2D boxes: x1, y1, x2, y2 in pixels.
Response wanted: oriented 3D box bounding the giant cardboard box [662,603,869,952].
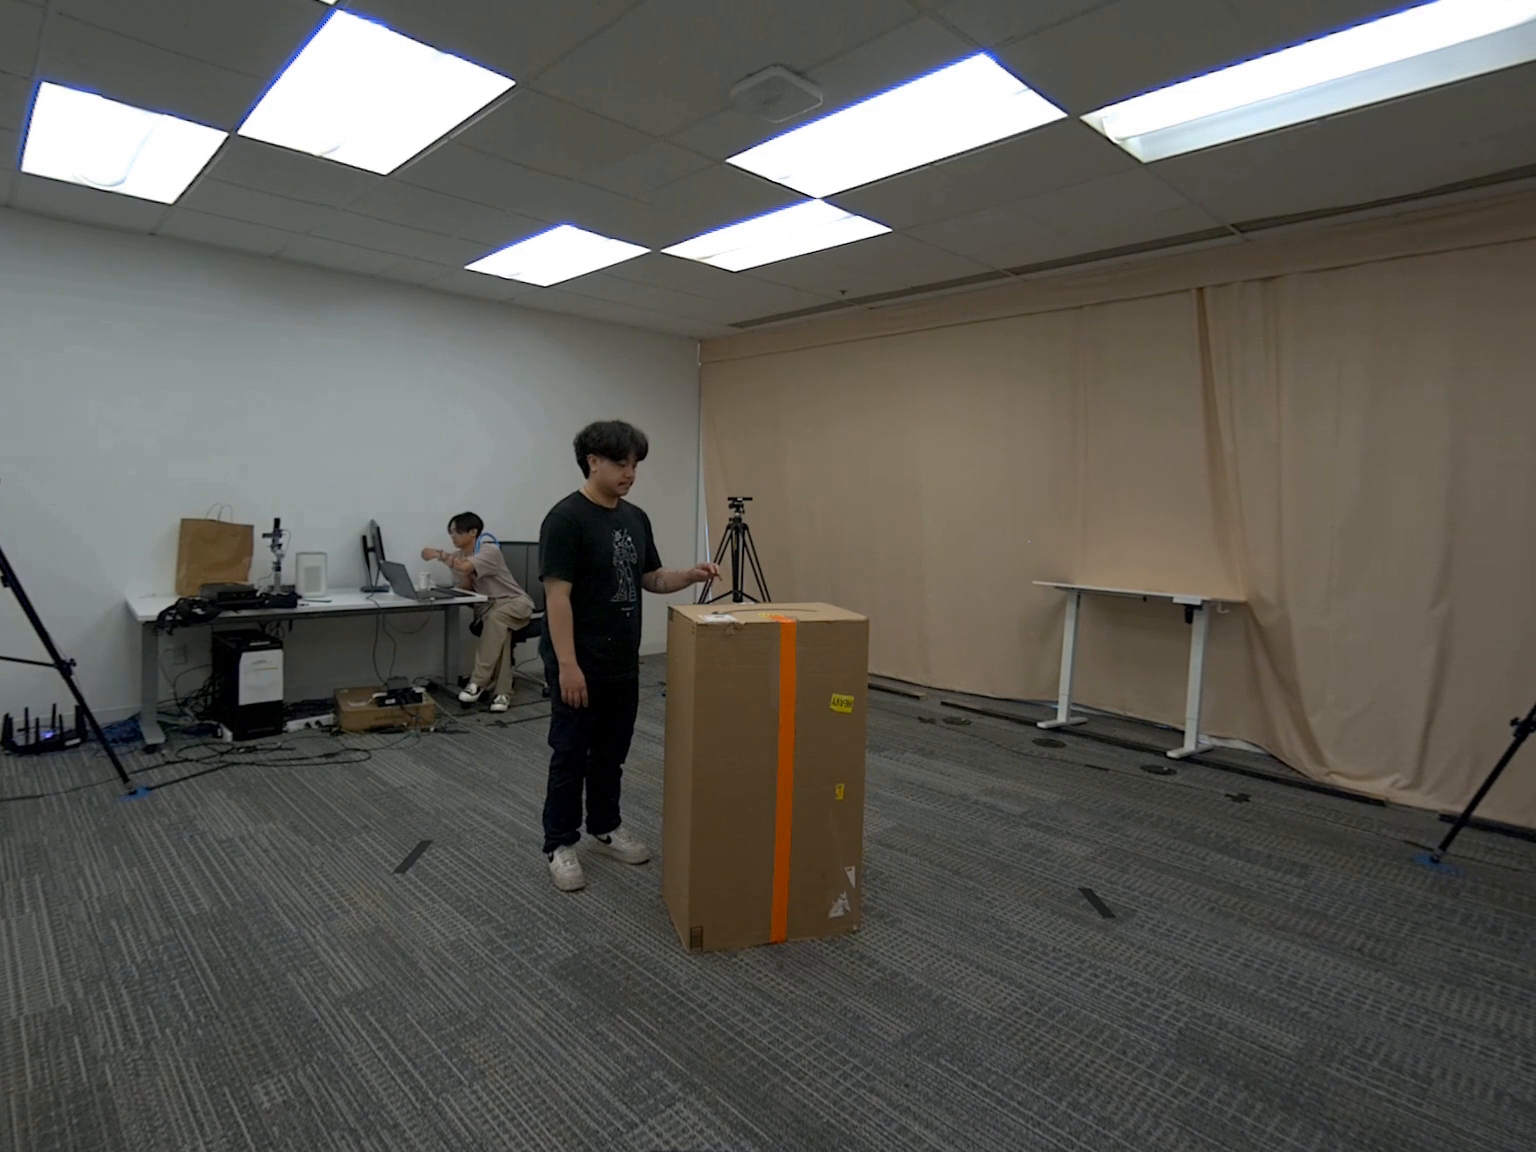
[{"bbox_3d":[-0.031,0.625,2.812,0.576,1.024,0.454,0,4,-17],"label":"giant cardboard box"}]
